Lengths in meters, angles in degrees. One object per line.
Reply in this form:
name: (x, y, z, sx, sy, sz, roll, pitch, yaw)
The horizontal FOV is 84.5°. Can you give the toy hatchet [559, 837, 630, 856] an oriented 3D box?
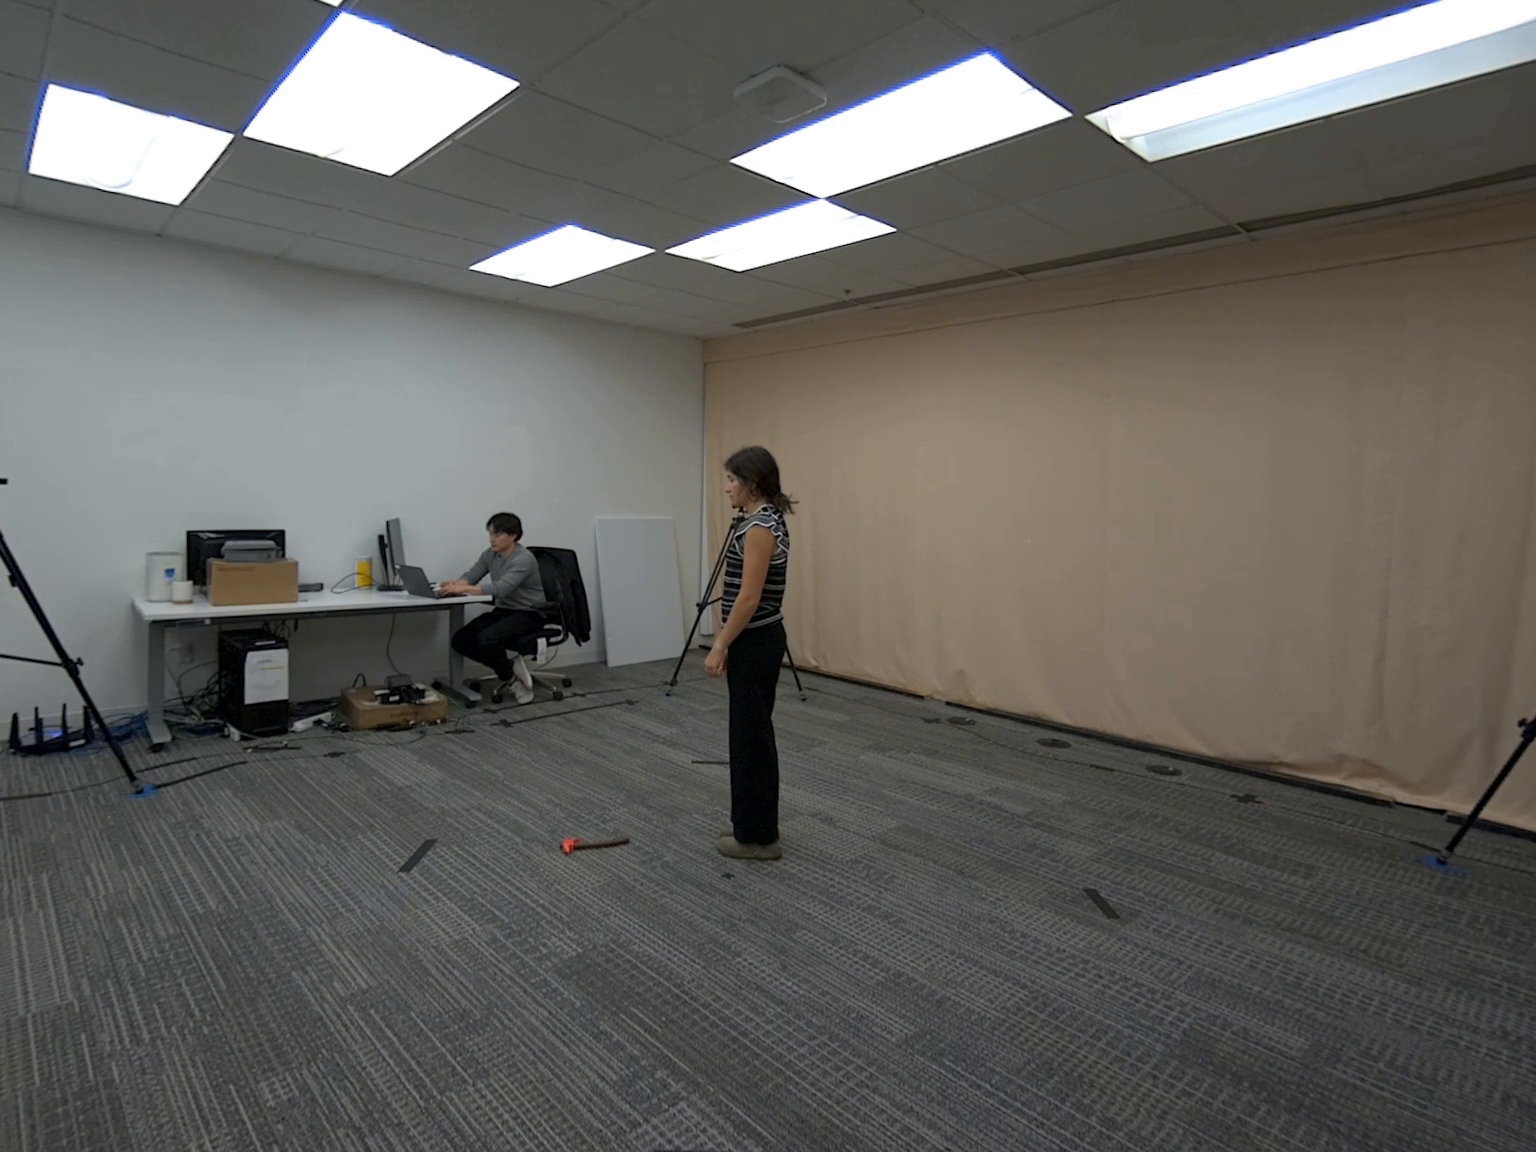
toy hatchet: (-0.707, 1.055, 3.355, 0.264, 0.029, 0.134, 0, 1, -33)
